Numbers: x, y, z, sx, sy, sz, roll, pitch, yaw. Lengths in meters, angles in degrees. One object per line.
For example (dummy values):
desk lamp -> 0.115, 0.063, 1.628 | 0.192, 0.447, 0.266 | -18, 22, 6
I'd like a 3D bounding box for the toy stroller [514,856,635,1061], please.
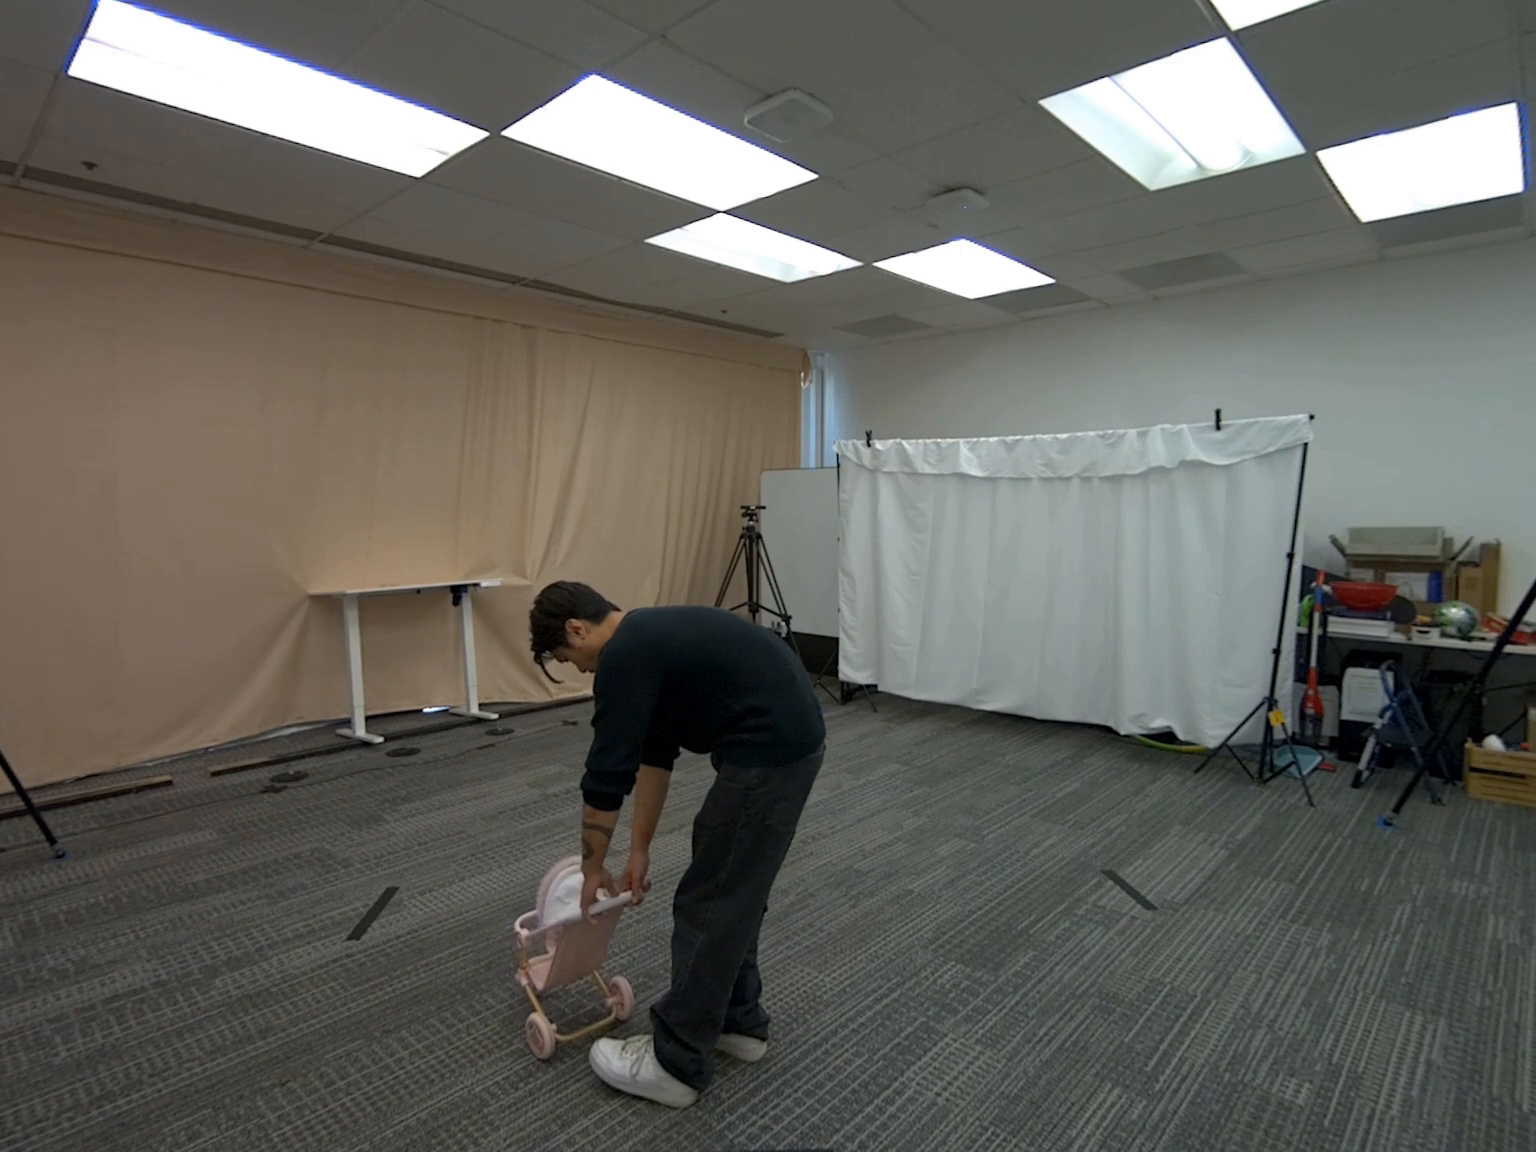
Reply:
toy stroller -> -0.532, 0.987, 2.248 | 0.273, 0.531, 0.354 | -2, 20, -38
